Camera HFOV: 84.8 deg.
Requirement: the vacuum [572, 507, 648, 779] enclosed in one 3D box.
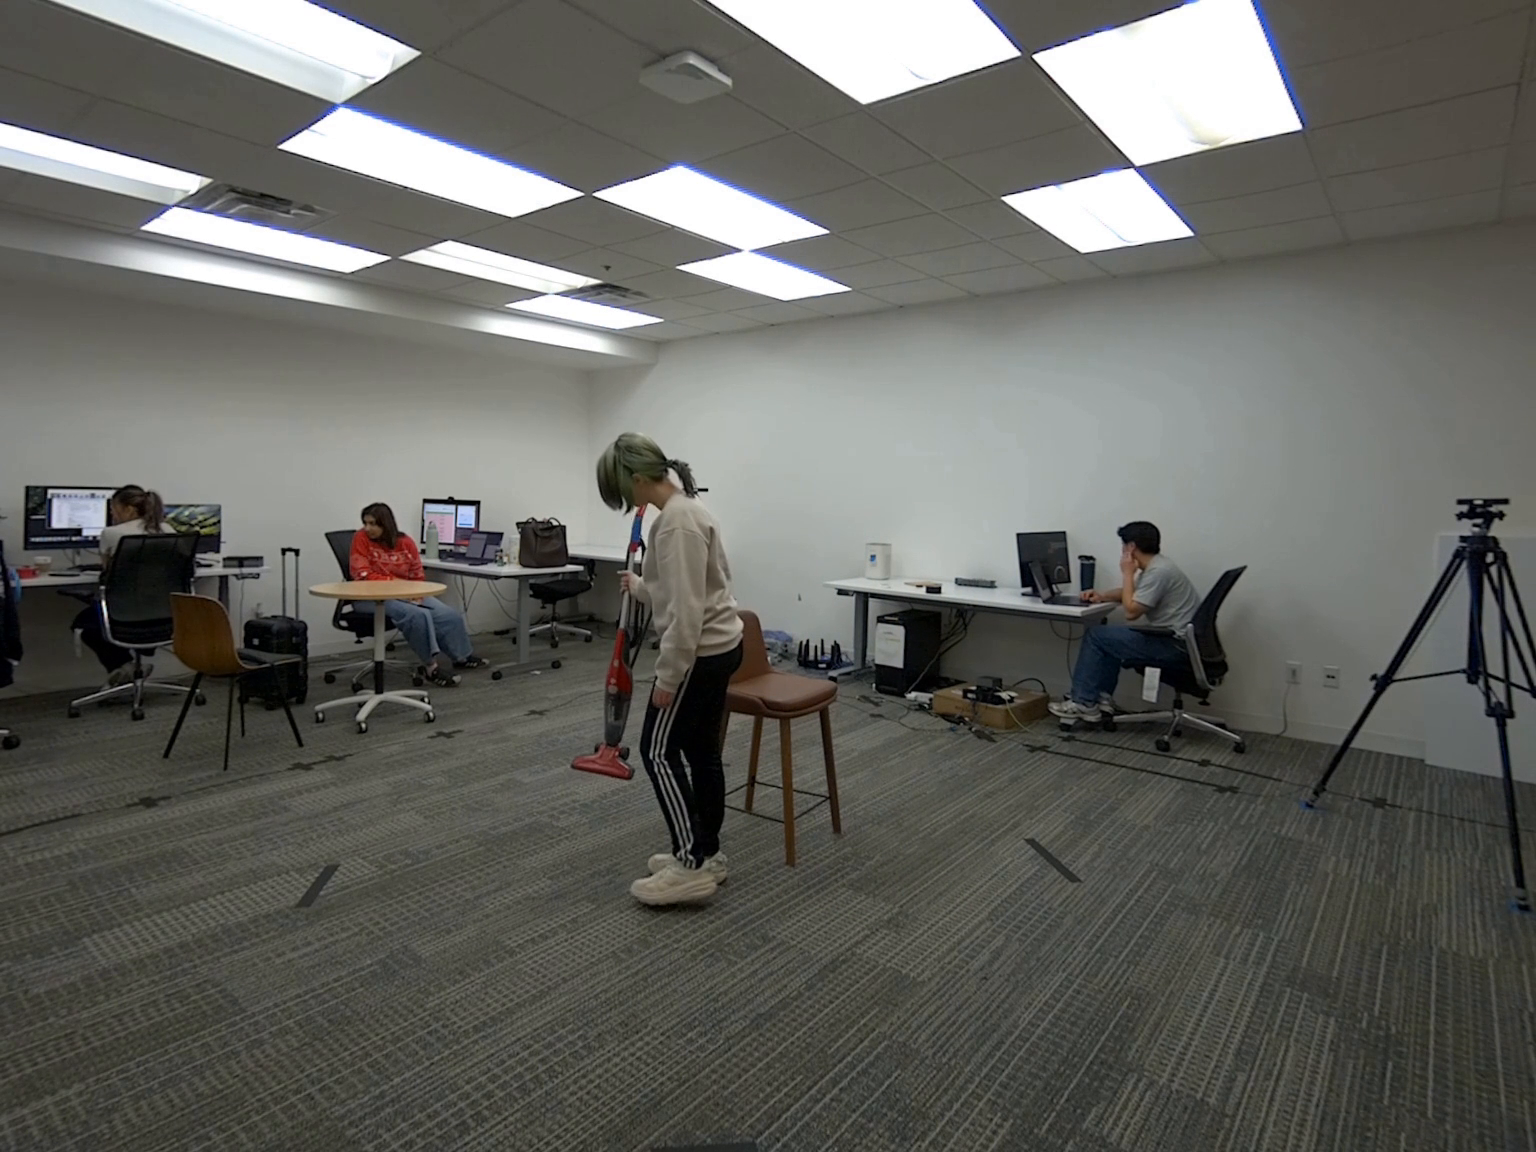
[{"bbox_3d":[-0.574,0.211,3.352,0.258,1.054,0.140,6,-6,18],"label":"vacuum"}]
